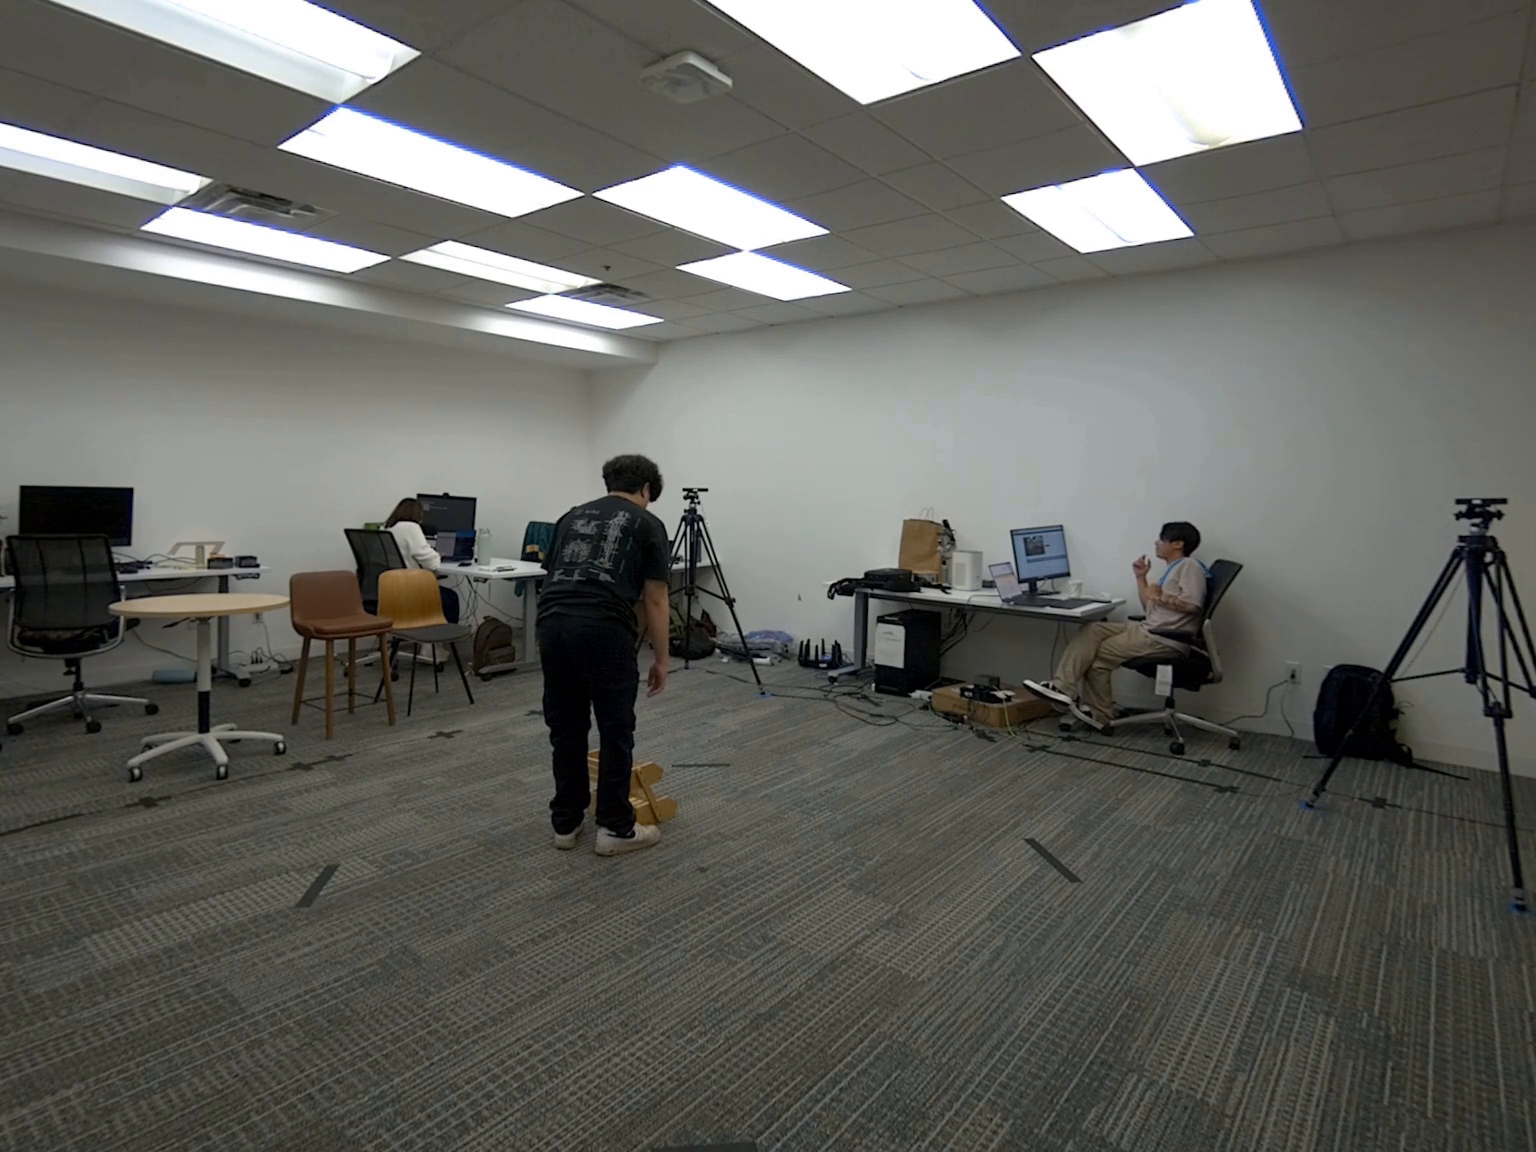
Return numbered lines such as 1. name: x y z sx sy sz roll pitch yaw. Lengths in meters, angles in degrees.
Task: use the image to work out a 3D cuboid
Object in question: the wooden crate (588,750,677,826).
1. wooden crate: -0.605 0.883 3.619 0.335 0.272 0.293 4 6 38
